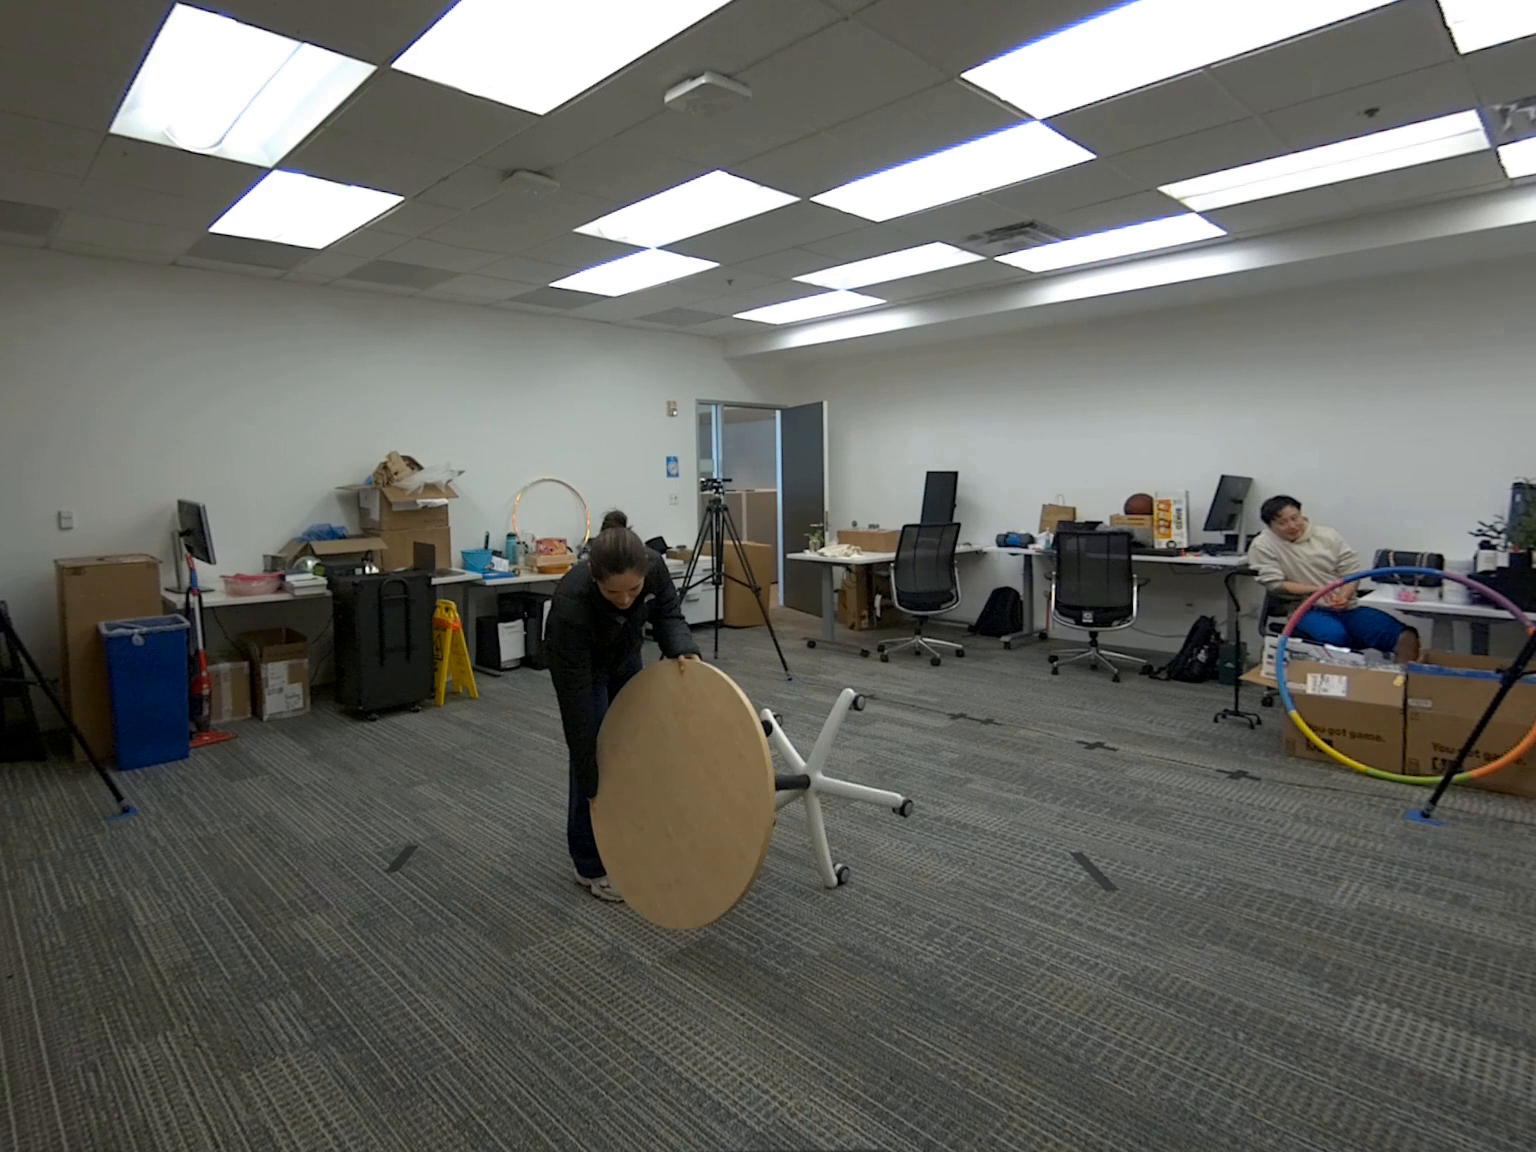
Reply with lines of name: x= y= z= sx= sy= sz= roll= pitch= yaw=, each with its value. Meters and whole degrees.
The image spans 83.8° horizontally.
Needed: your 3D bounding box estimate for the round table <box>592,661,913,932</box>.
round table: x=-0.037 y=0.669 z=2.820 sx=0.809 sy=0.788 sz=0.760 roll=3 pitch=-6 yaw=42
